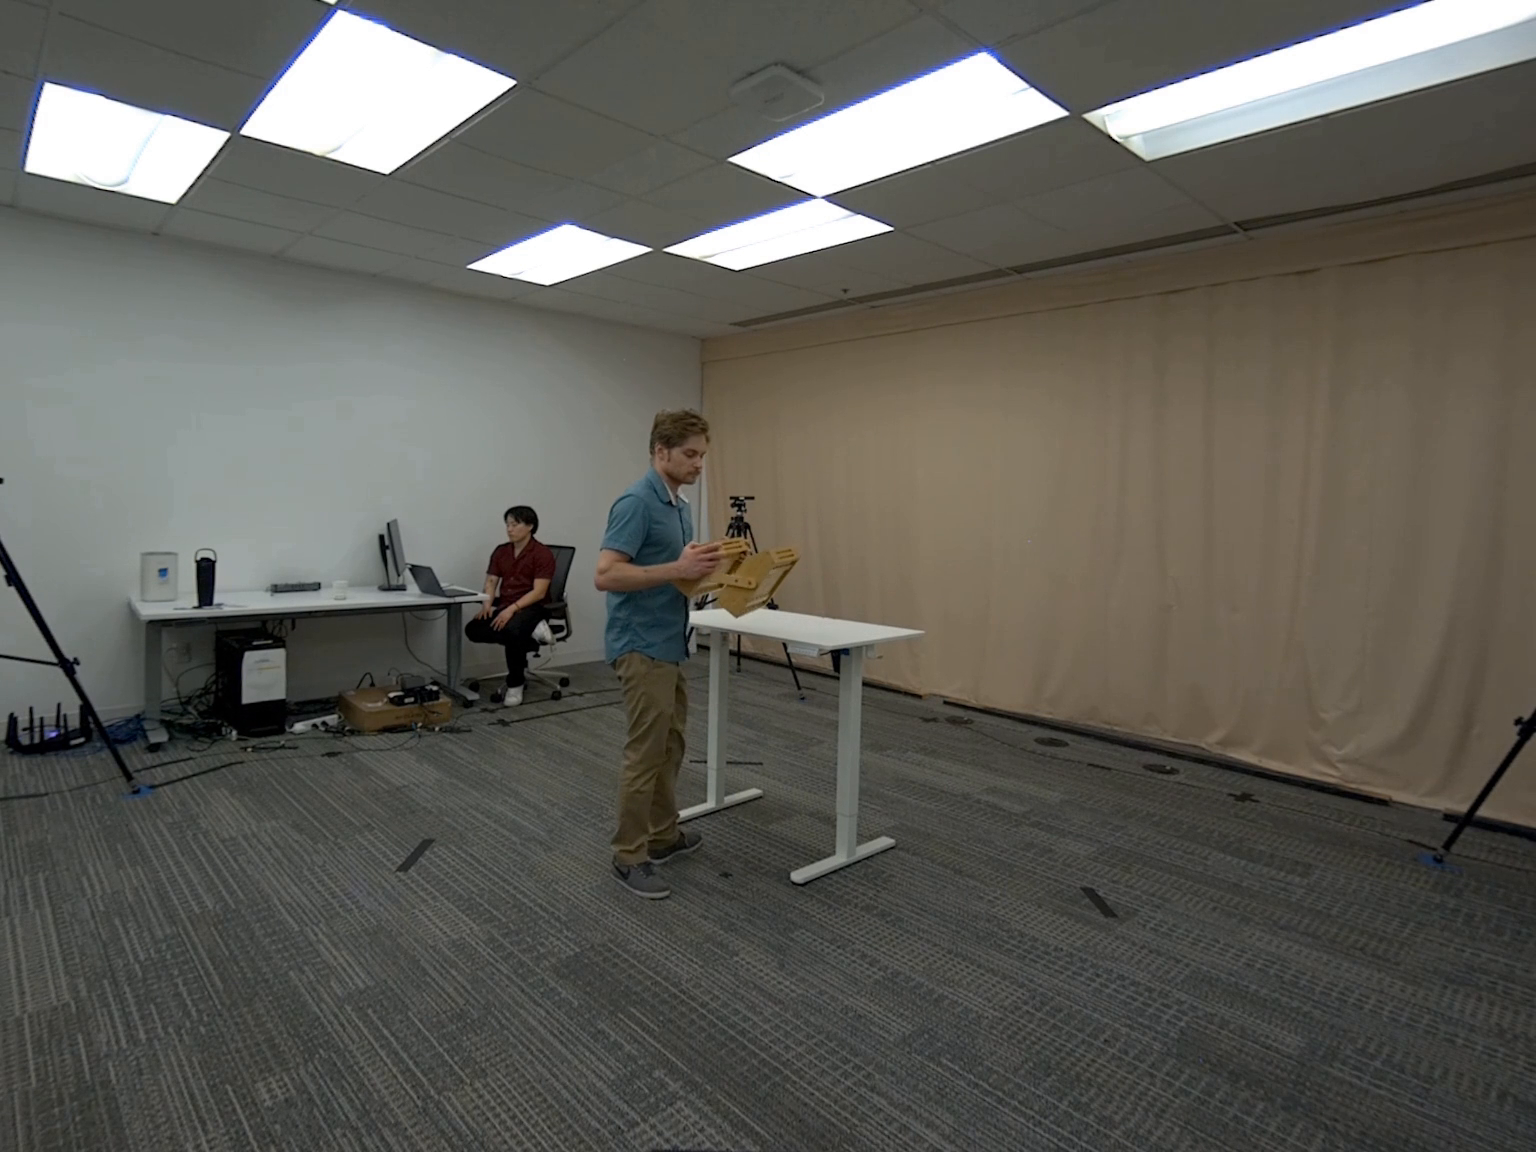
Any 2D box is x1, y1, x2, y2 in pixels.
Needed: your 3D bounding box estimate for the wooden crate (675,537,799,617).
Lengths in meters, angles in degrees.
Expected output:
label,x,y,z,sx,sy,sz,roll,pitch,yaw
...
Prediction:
label,x,y,z,sx,sy,sz,roll,pitch,yaw
wooden crate,-0.115,-0.032,2.912,0.277,0.301,0.320,38,14,13
